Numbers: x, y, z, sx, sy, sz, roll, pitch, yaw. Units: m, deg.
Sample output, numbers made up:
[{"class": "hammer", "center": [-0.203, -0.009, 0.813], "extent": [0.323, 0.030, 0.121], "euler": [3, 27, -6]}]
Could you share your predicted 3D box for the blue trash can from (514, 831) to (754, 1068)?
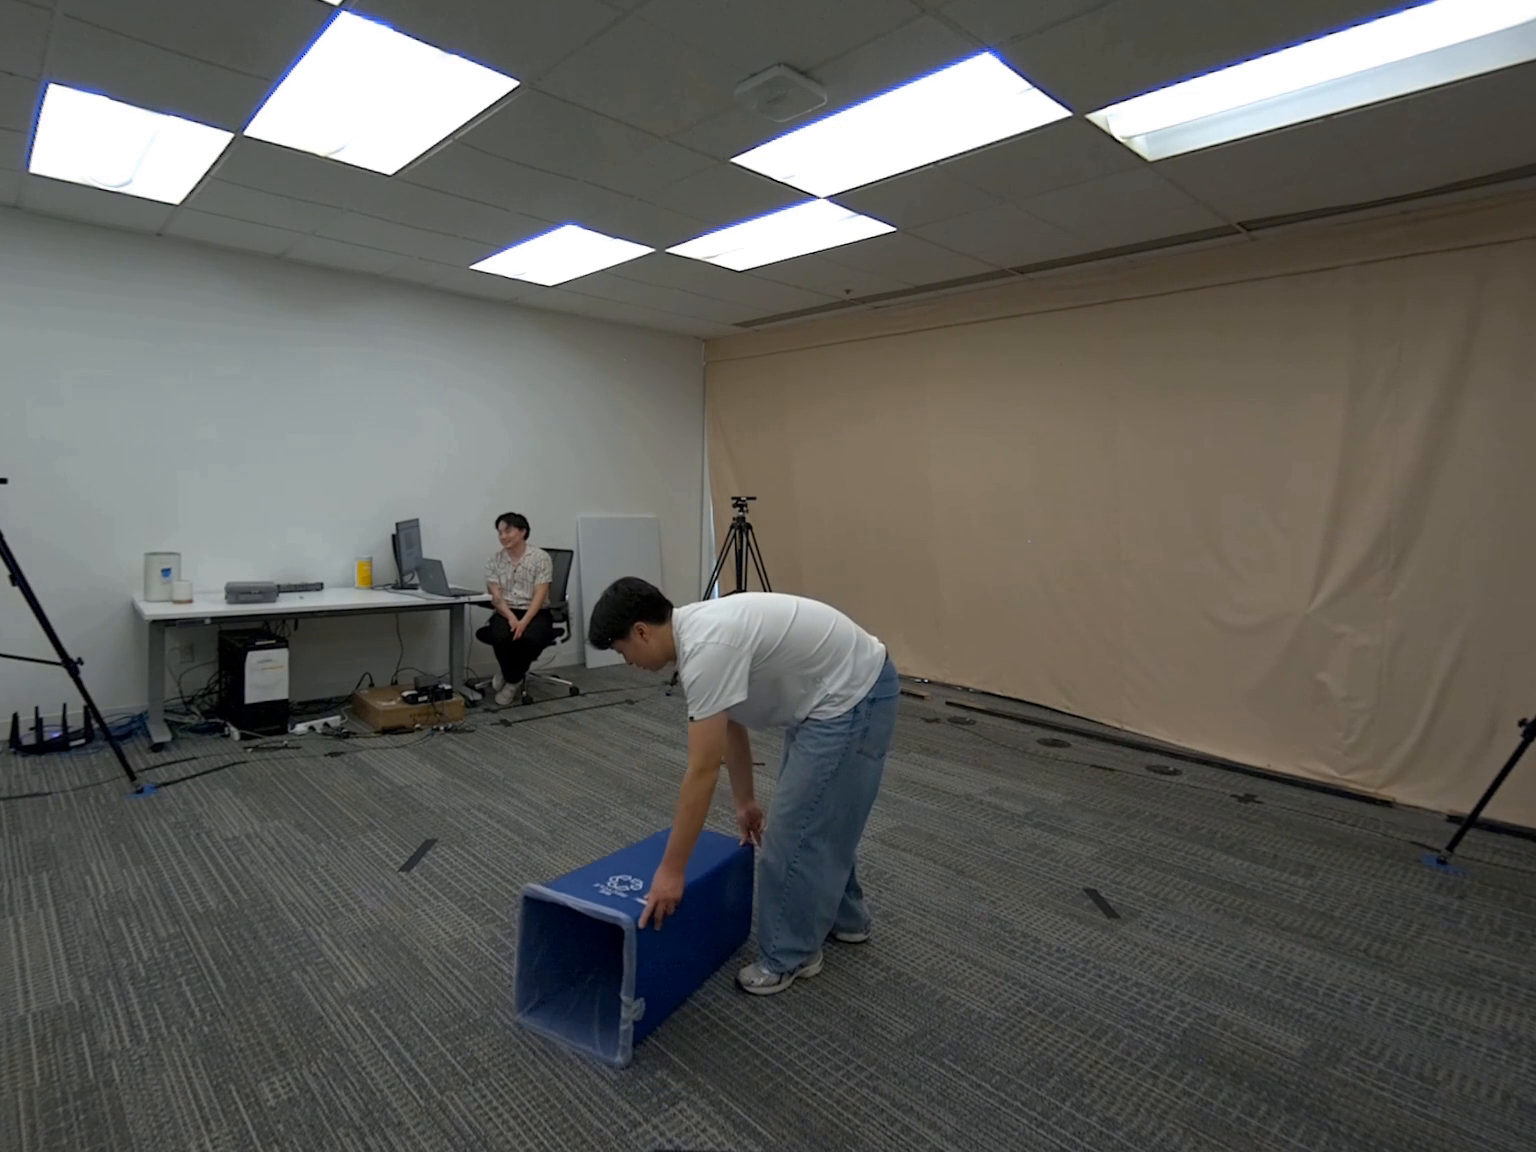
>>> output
[{"class": "blue trash can", "center": [-0.349, 0.998, 2.429], "extent": [0.382, 0.378, 0.700], "euler": [3, 2, 27]}]
